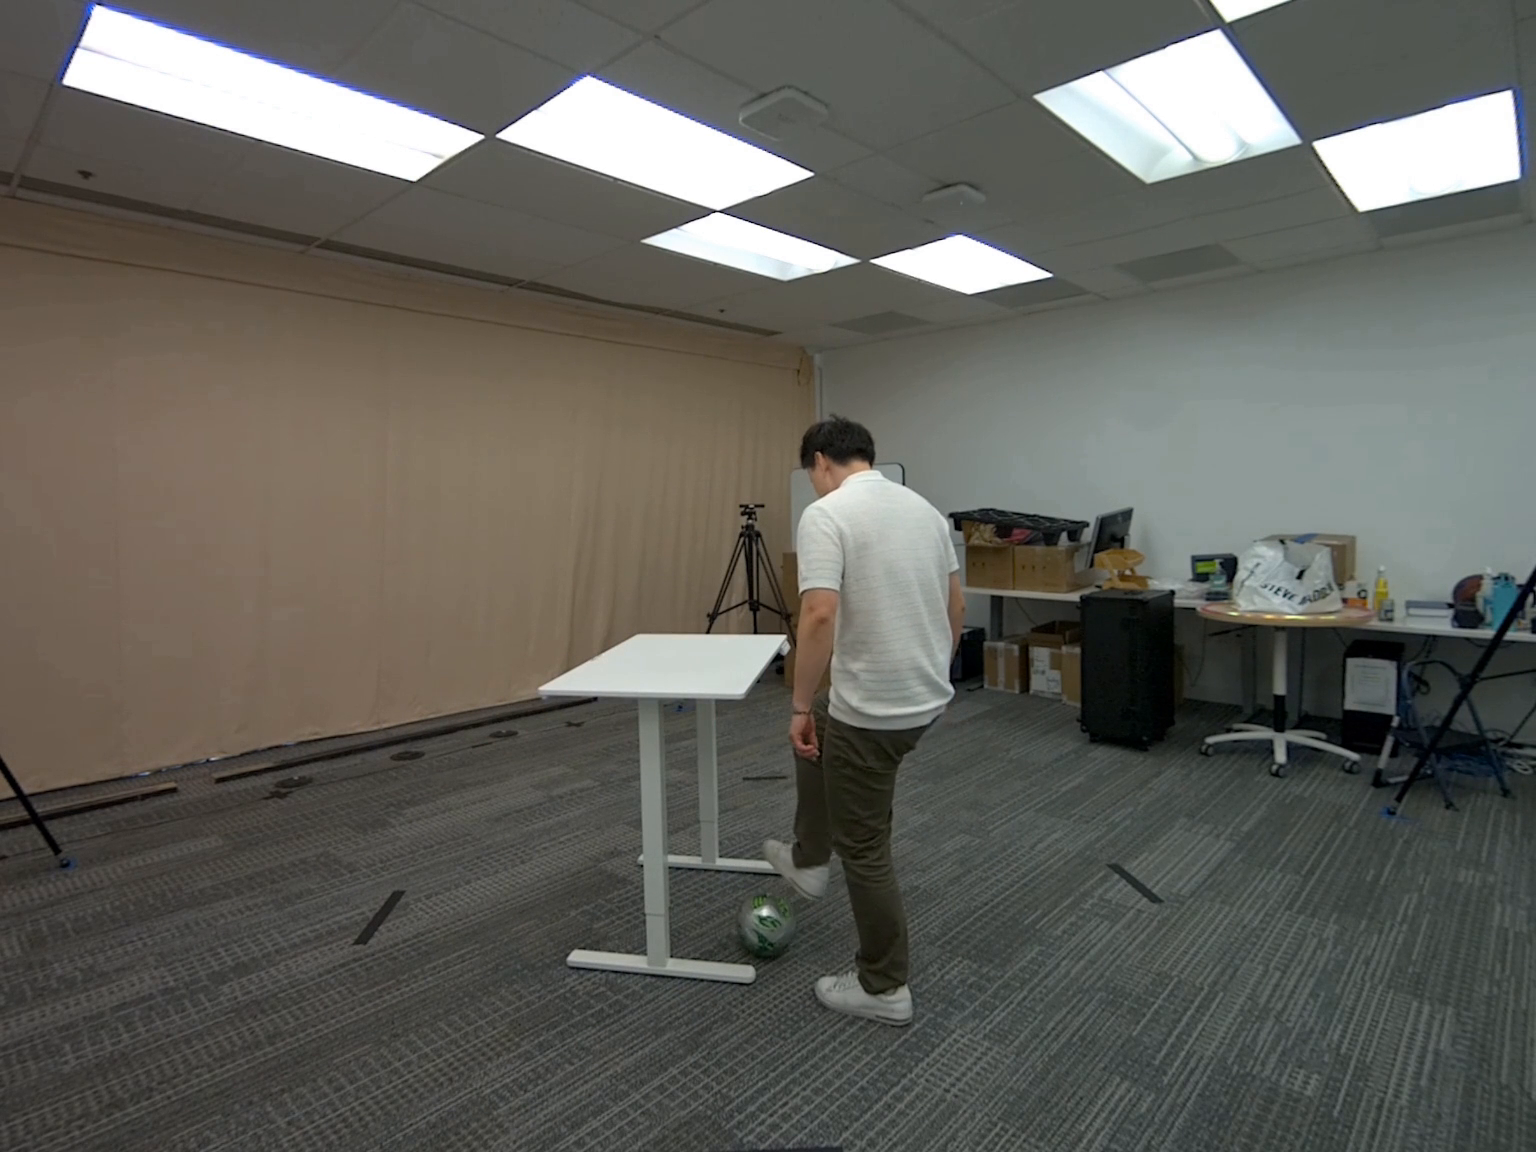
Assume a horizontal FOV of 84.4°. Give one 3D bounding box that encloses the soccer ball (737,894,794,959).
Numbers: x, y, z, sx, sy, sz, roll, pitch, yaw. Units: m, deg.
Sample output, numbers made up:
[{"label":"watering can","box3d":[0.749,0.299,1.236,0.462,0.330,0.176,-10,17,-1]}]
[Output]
[{"label":"soccer ball","box3d":[-0.008,1.081,2.613,0.187,0.187,0.188,-1,4,-2]}]
